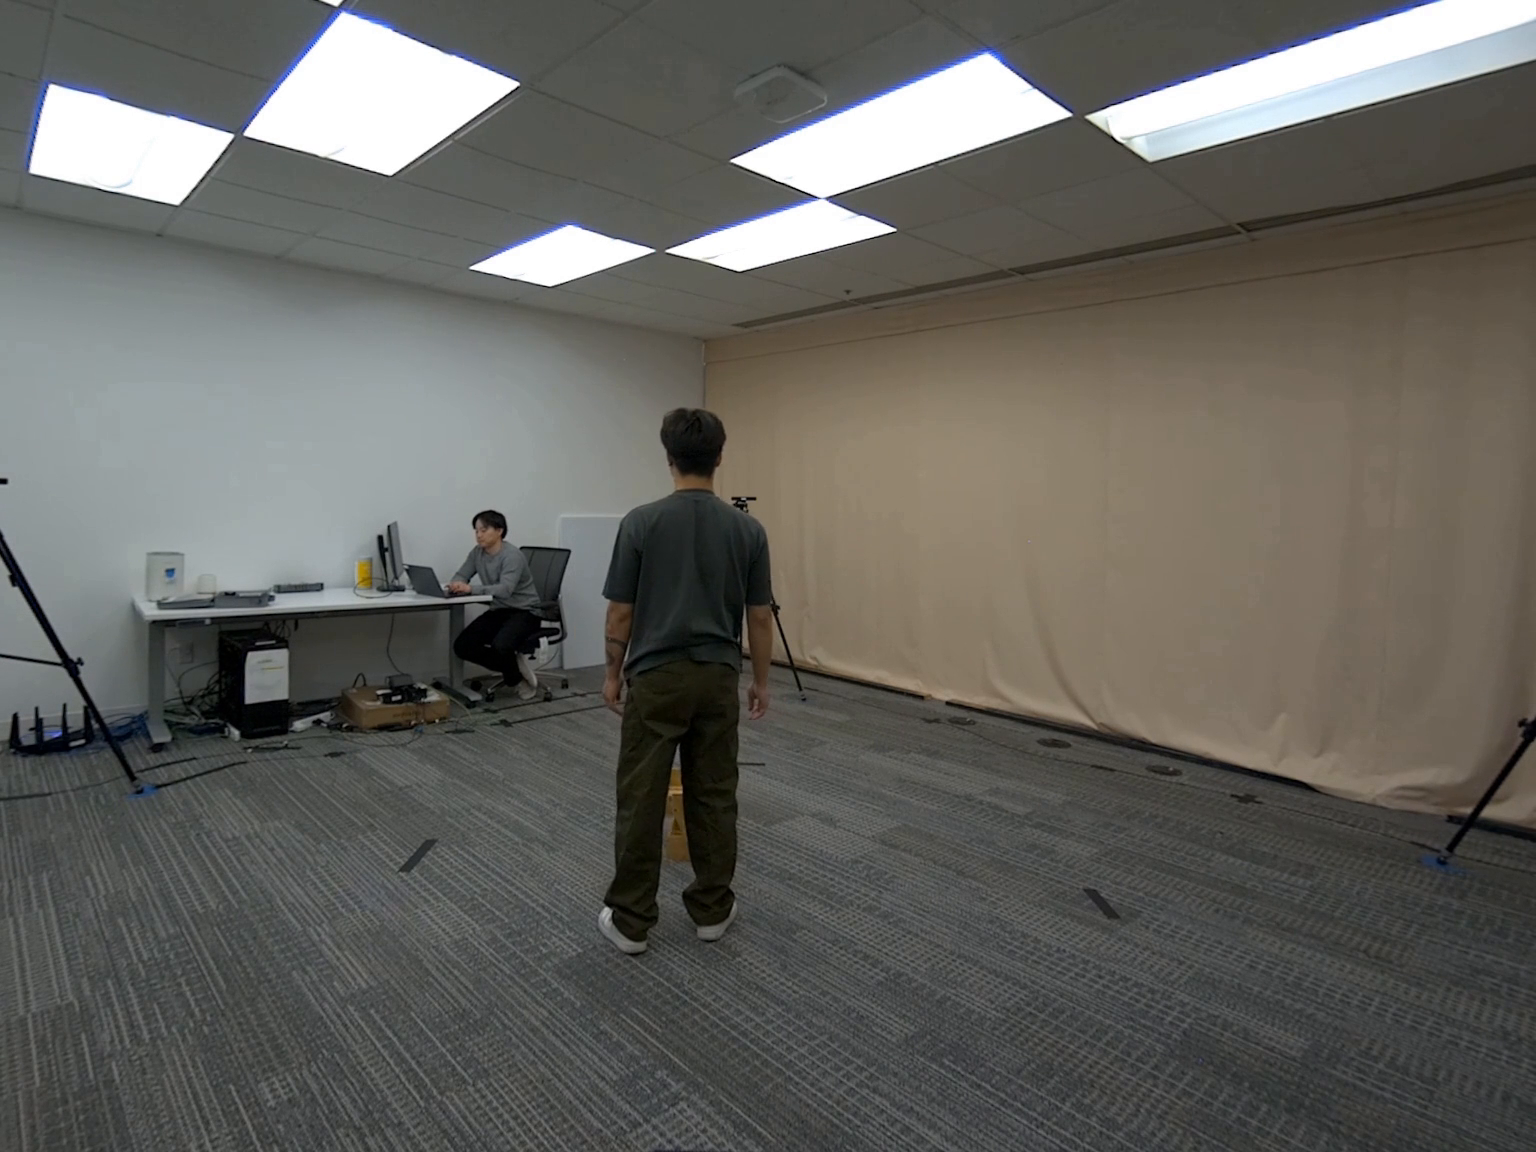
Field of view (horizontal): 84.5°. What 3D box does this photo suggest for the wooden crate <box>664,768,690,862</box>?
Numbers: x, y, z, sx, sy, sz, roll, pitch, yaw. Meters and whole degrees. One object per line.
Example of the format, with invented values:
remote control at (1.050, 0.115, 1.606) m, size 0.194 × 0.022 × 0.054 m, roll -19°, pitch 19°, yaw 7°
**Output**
wooden crate at (-0.283, 0.952, 3.378) m, size 0.302 × 0.273 × 0.325 m, roll 1°, pitch 3°, yaw -1°
